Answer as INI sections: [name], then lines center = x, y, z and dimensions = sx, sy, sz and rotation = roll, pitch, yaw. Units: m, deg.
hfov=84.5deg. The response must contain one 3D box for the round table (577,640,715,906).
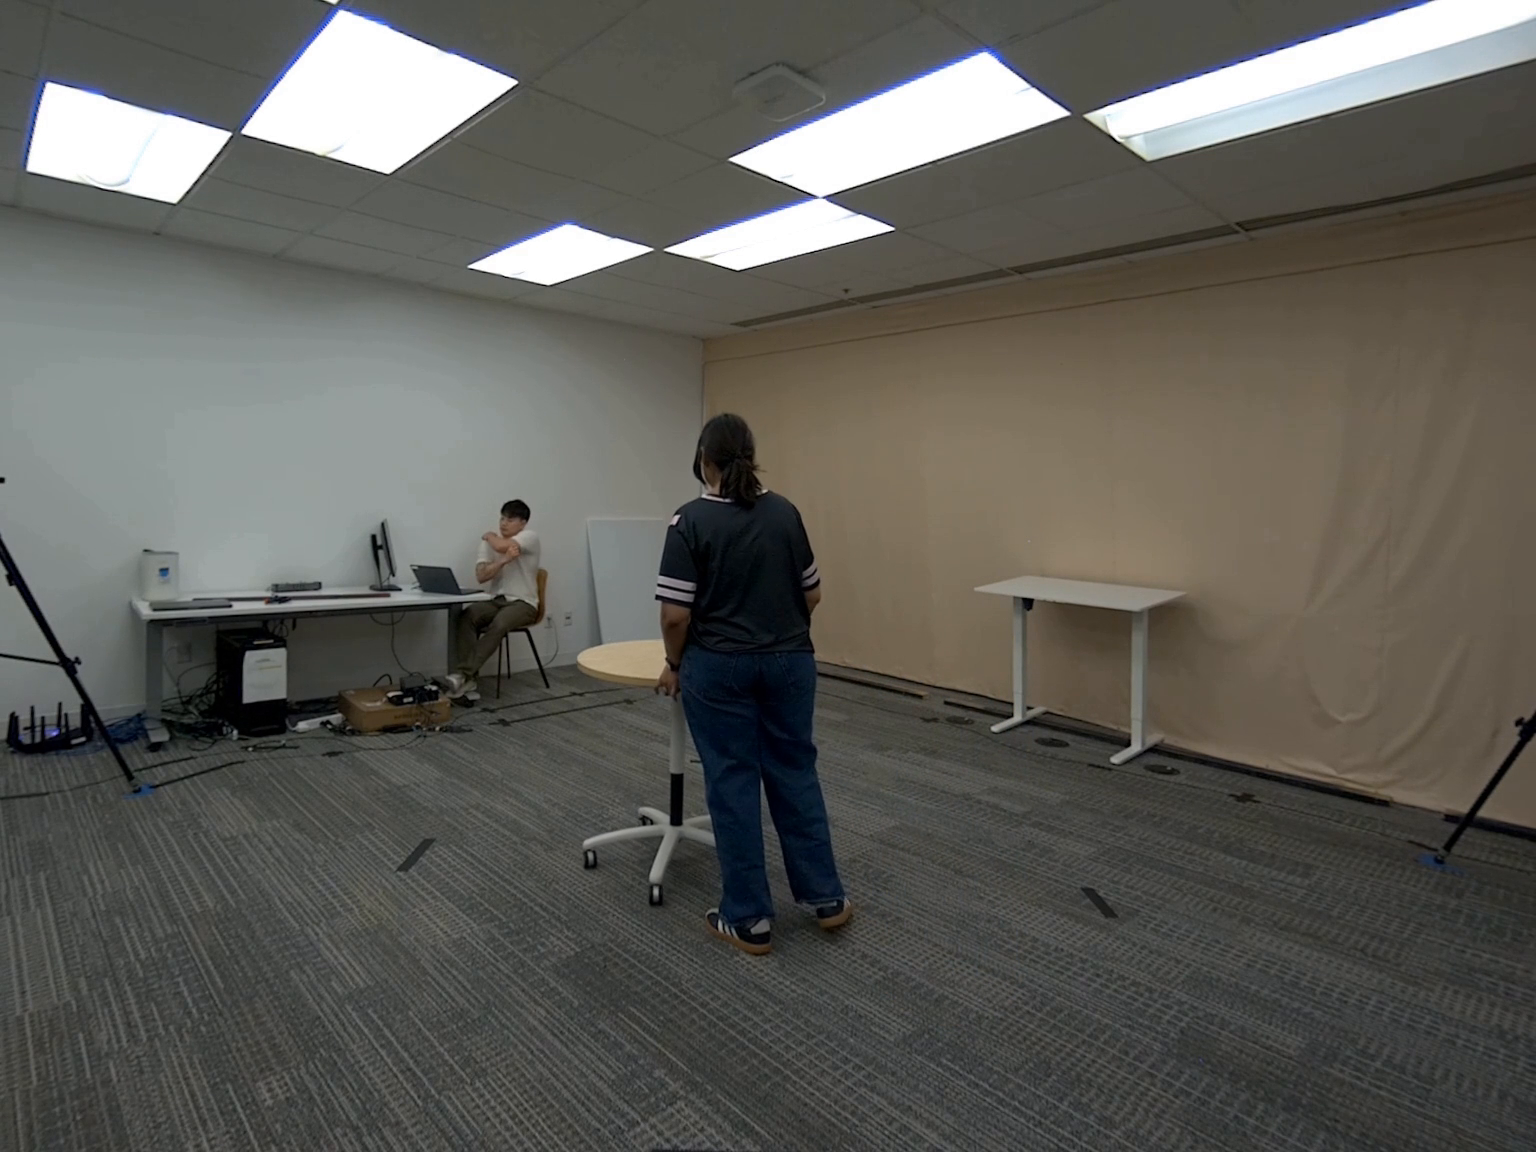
[round table]
center = -0.355, 0.697, 3.218
dimensions = 0.784, 0.784, 0.788
rotation = 1, 4, -1
